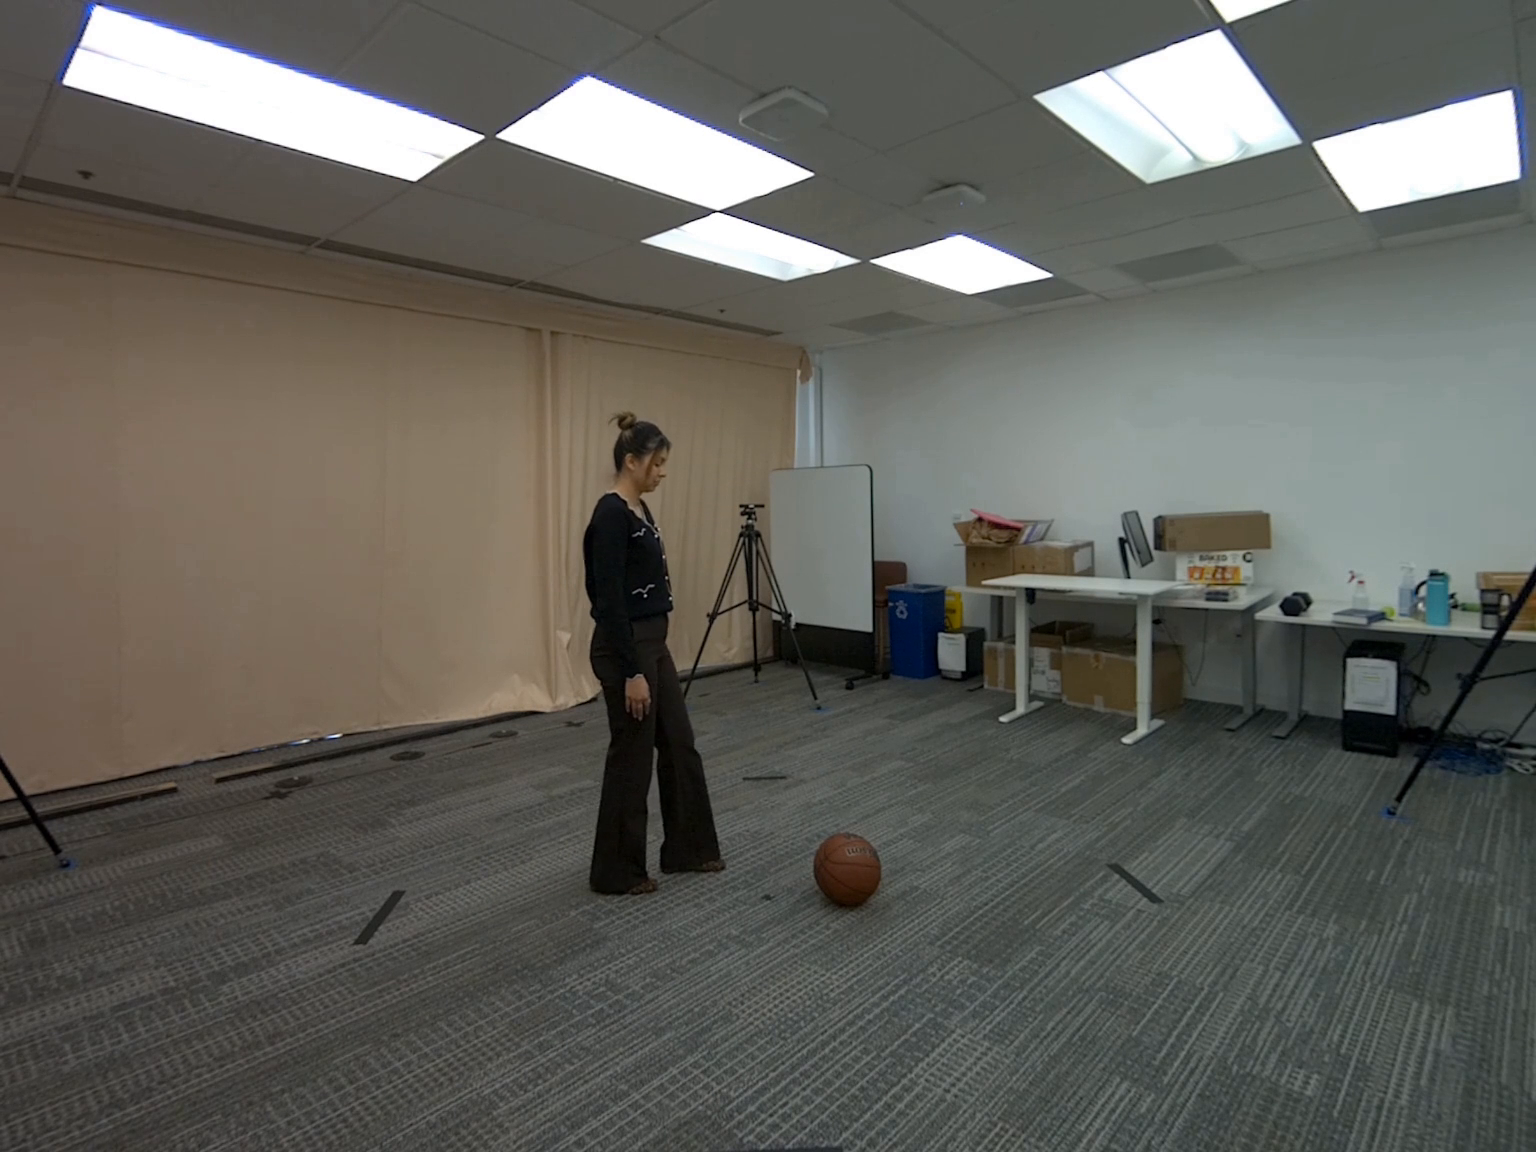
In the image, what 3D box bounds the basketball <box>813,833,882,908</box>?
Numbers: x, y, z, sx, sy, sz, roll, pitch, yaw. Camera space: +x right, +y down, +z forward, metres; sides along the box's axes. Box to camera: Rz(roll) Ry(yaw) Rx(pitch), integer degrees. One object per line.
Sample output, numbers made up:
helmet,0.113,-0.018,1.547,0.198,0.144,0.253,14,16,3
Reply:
basketball,0.282,1.020,2.937,0.236,0.235,0.237,-1,4,-2
